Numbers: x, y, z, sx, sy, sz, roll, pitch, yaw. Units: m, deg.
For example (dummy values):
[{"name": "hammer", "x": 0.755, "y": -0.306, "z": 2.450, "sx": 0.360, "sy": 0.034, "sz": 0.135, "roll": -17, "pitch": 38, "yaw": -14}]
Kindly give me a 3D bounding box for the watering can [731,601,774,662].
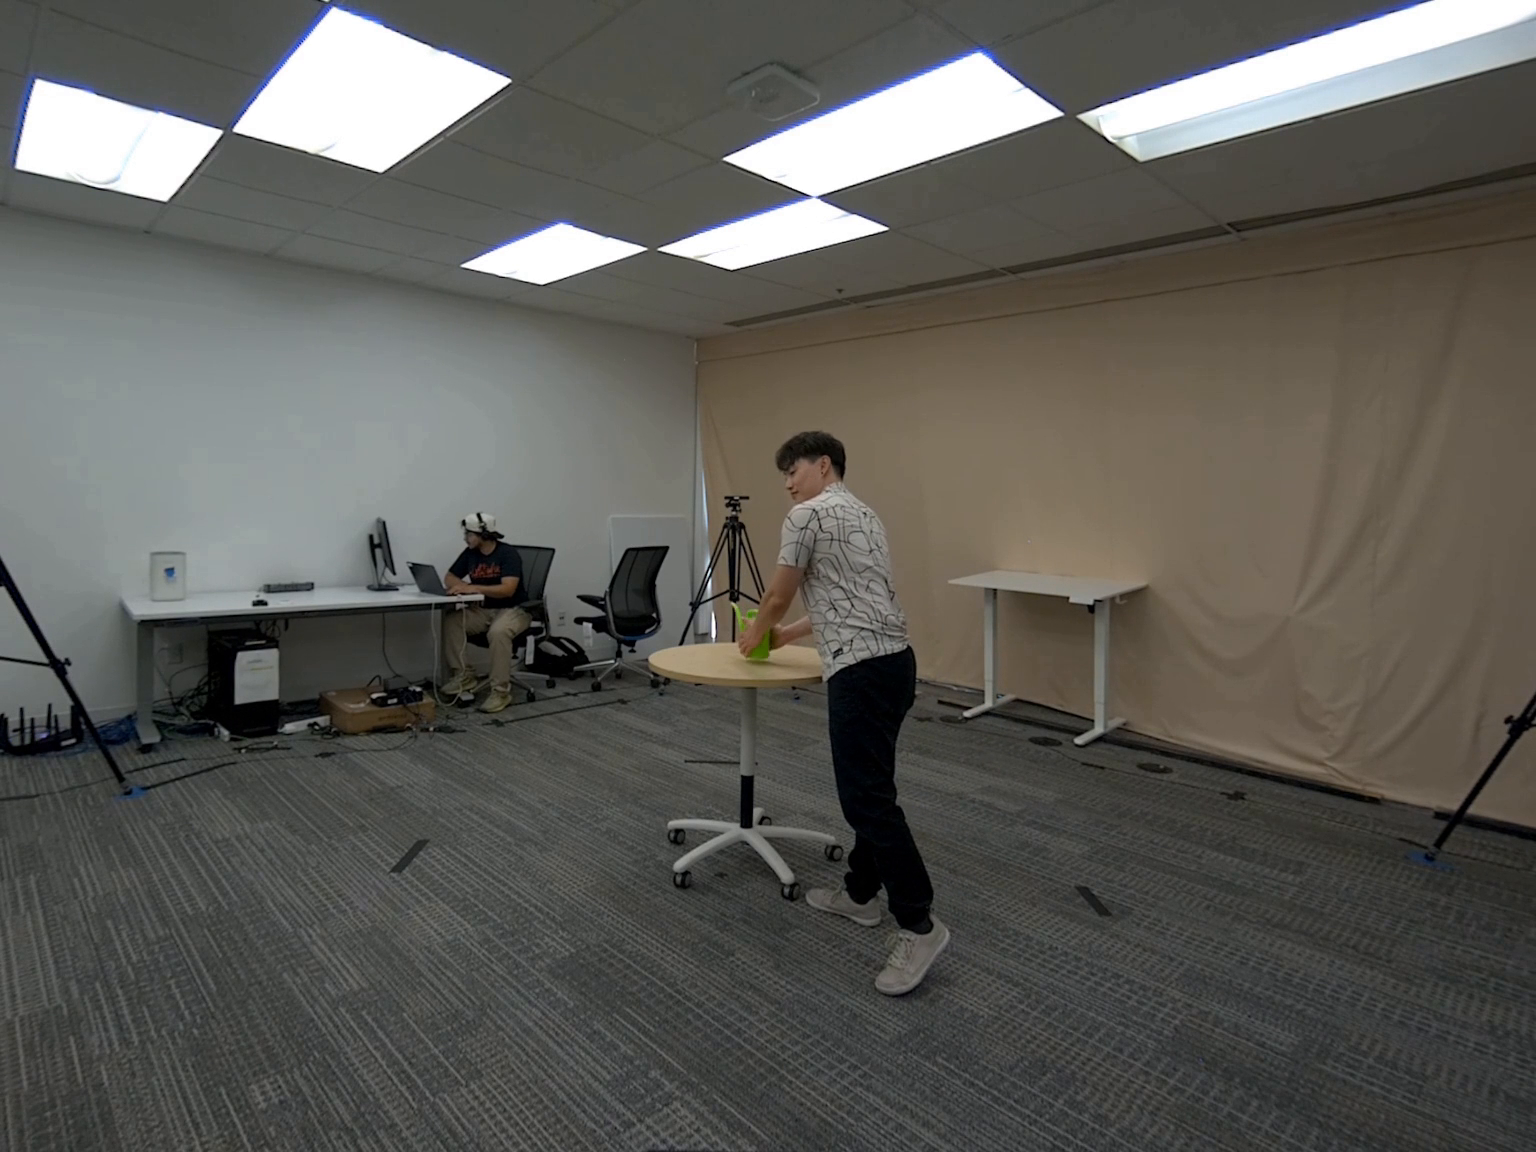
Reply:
[{"name": "watering can", "x": -0.064, "y": 0.209, "z": 3.141, "sx": 0.097, "sy": 0.176, "sz": 0.282, "roll": -1, "pitch": 7, "yaw": -11}]
